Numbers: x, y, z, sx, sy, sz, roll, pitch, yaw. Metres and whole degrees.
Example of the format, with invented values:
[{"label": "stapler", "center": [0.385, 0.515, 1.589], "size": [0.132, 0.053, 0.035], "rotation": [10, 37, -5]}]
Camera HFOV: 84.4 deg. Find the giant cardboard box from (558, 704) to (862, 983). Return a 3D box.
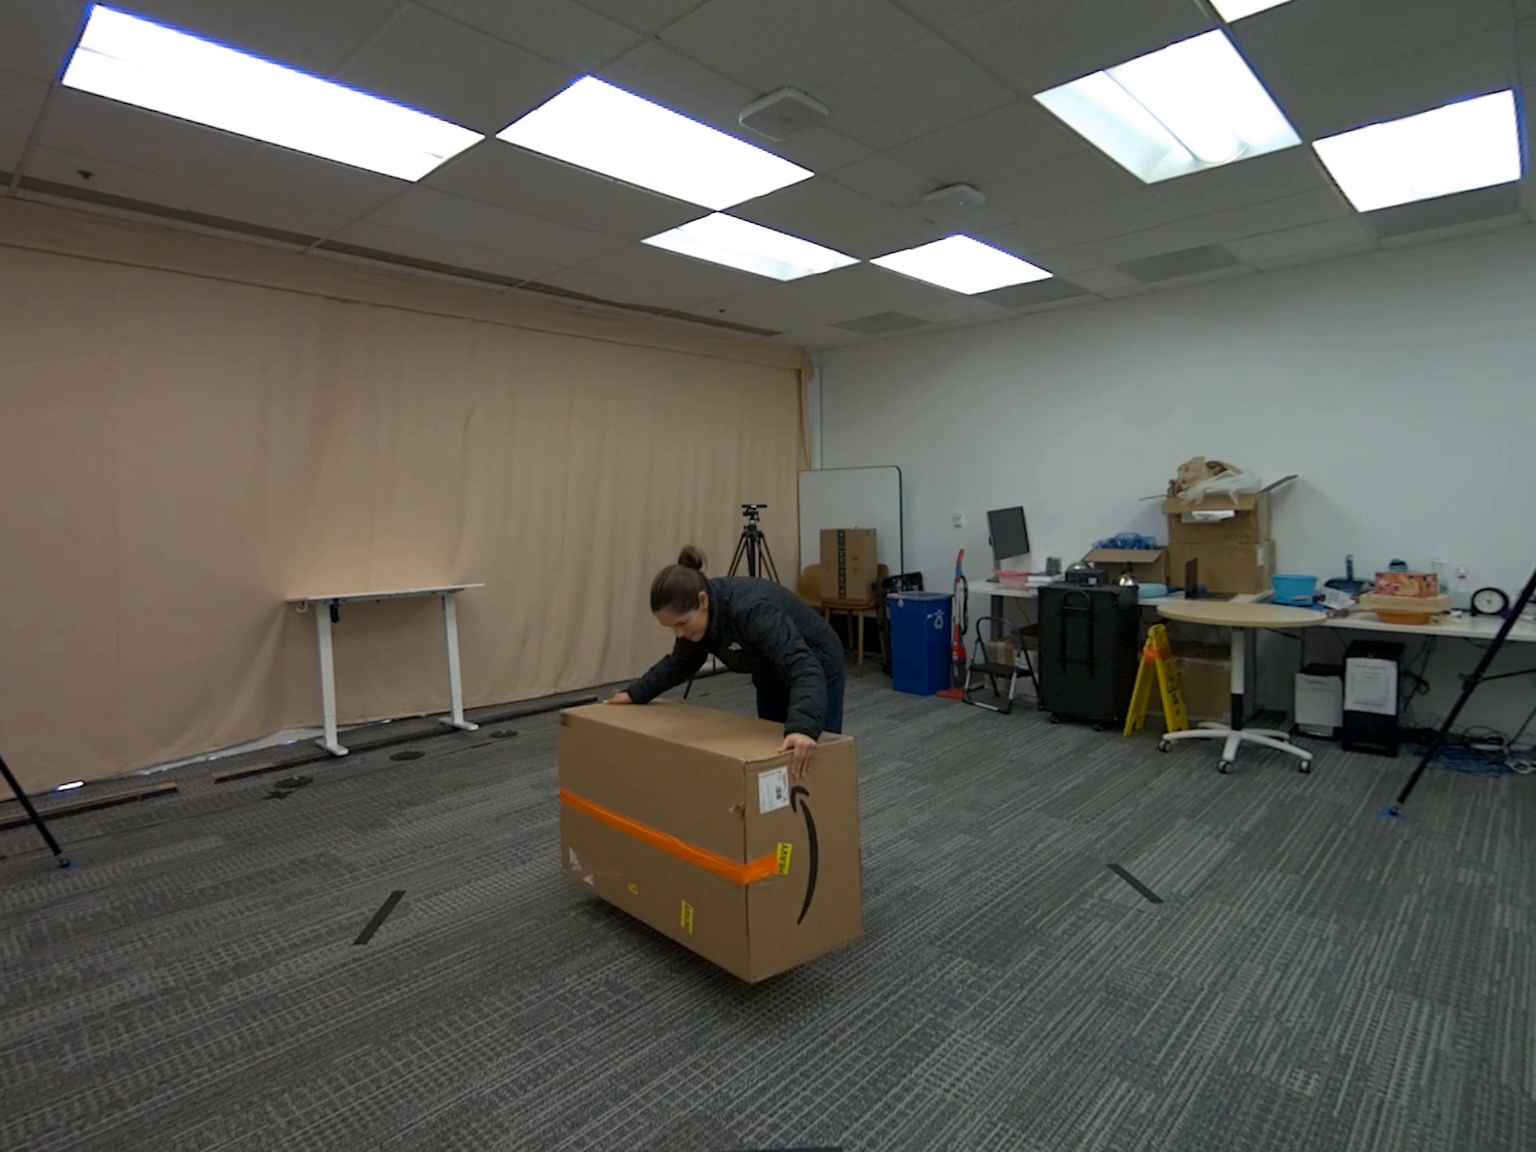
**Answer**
[{"label": "giant cardboard box", "center": [-0.225, 0.751, 2.681], "size": [0.433, 0.584, 1.059], "rotation": [1, -1, -39]}]
